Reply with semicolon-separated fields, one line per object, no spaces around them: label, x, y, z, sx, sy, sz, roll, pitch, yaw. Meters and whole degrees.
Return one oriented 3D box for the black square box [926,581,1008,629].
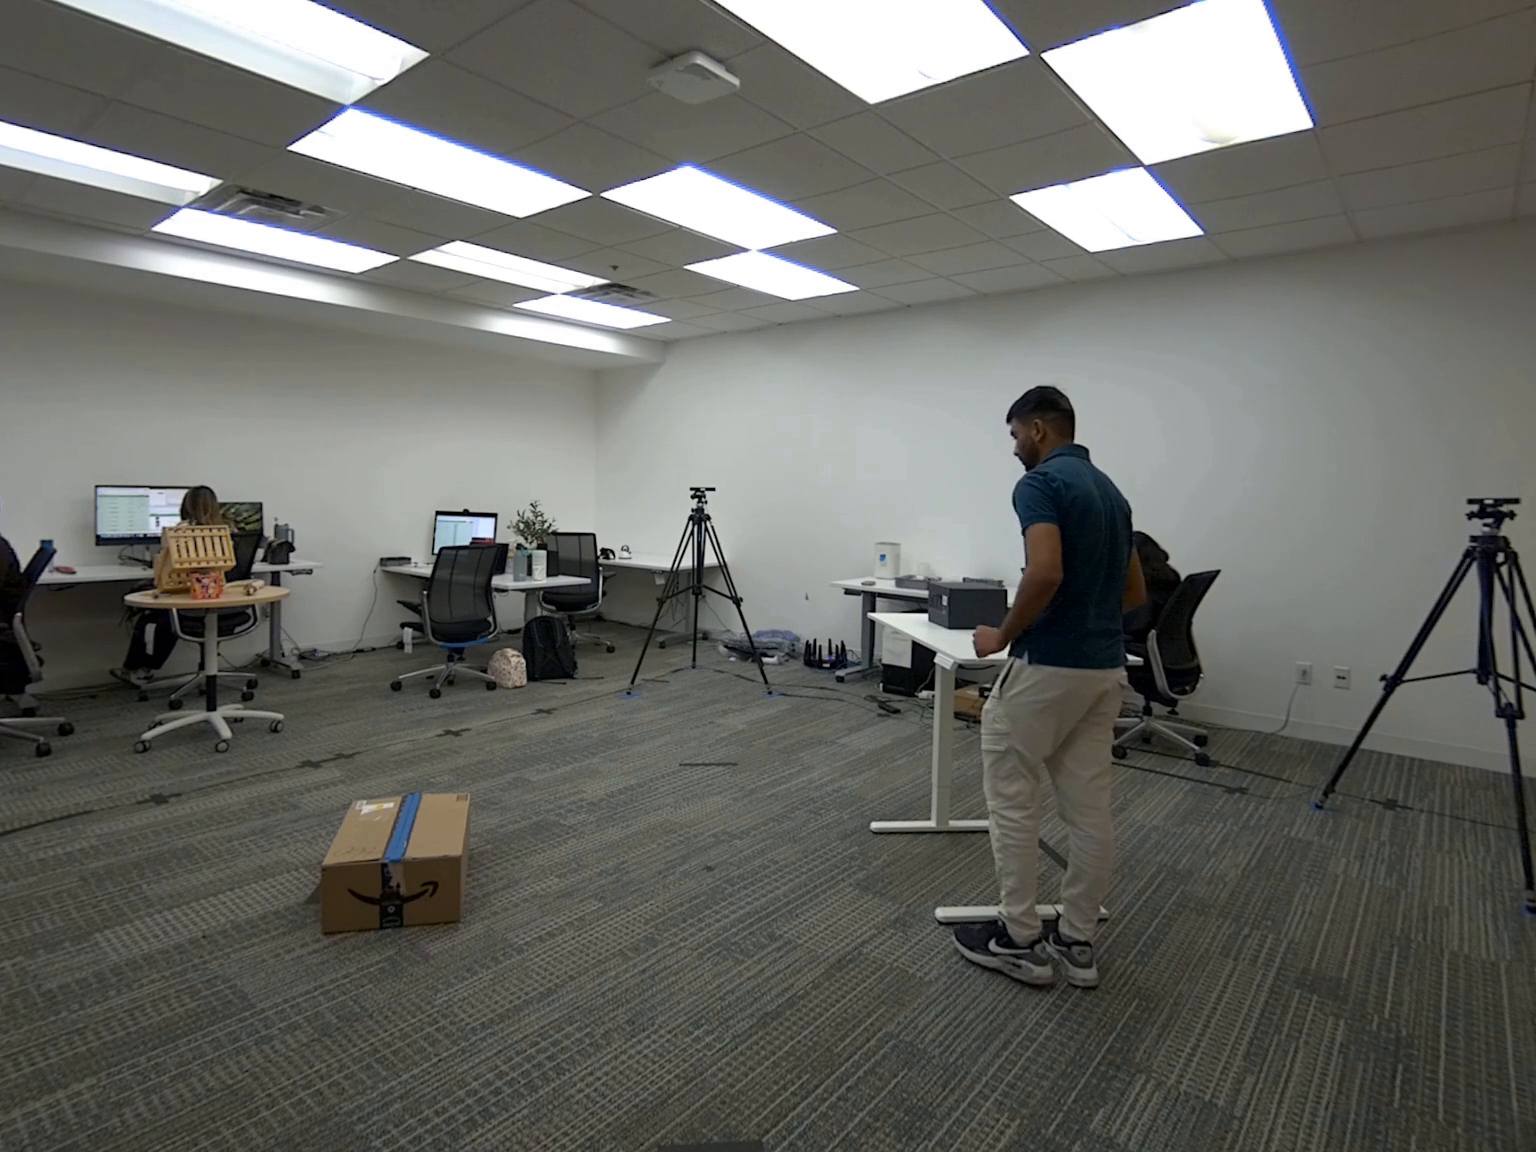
black square box;0.769;0.108;3.280;0.226;0.155;0.220;1;4;-10
